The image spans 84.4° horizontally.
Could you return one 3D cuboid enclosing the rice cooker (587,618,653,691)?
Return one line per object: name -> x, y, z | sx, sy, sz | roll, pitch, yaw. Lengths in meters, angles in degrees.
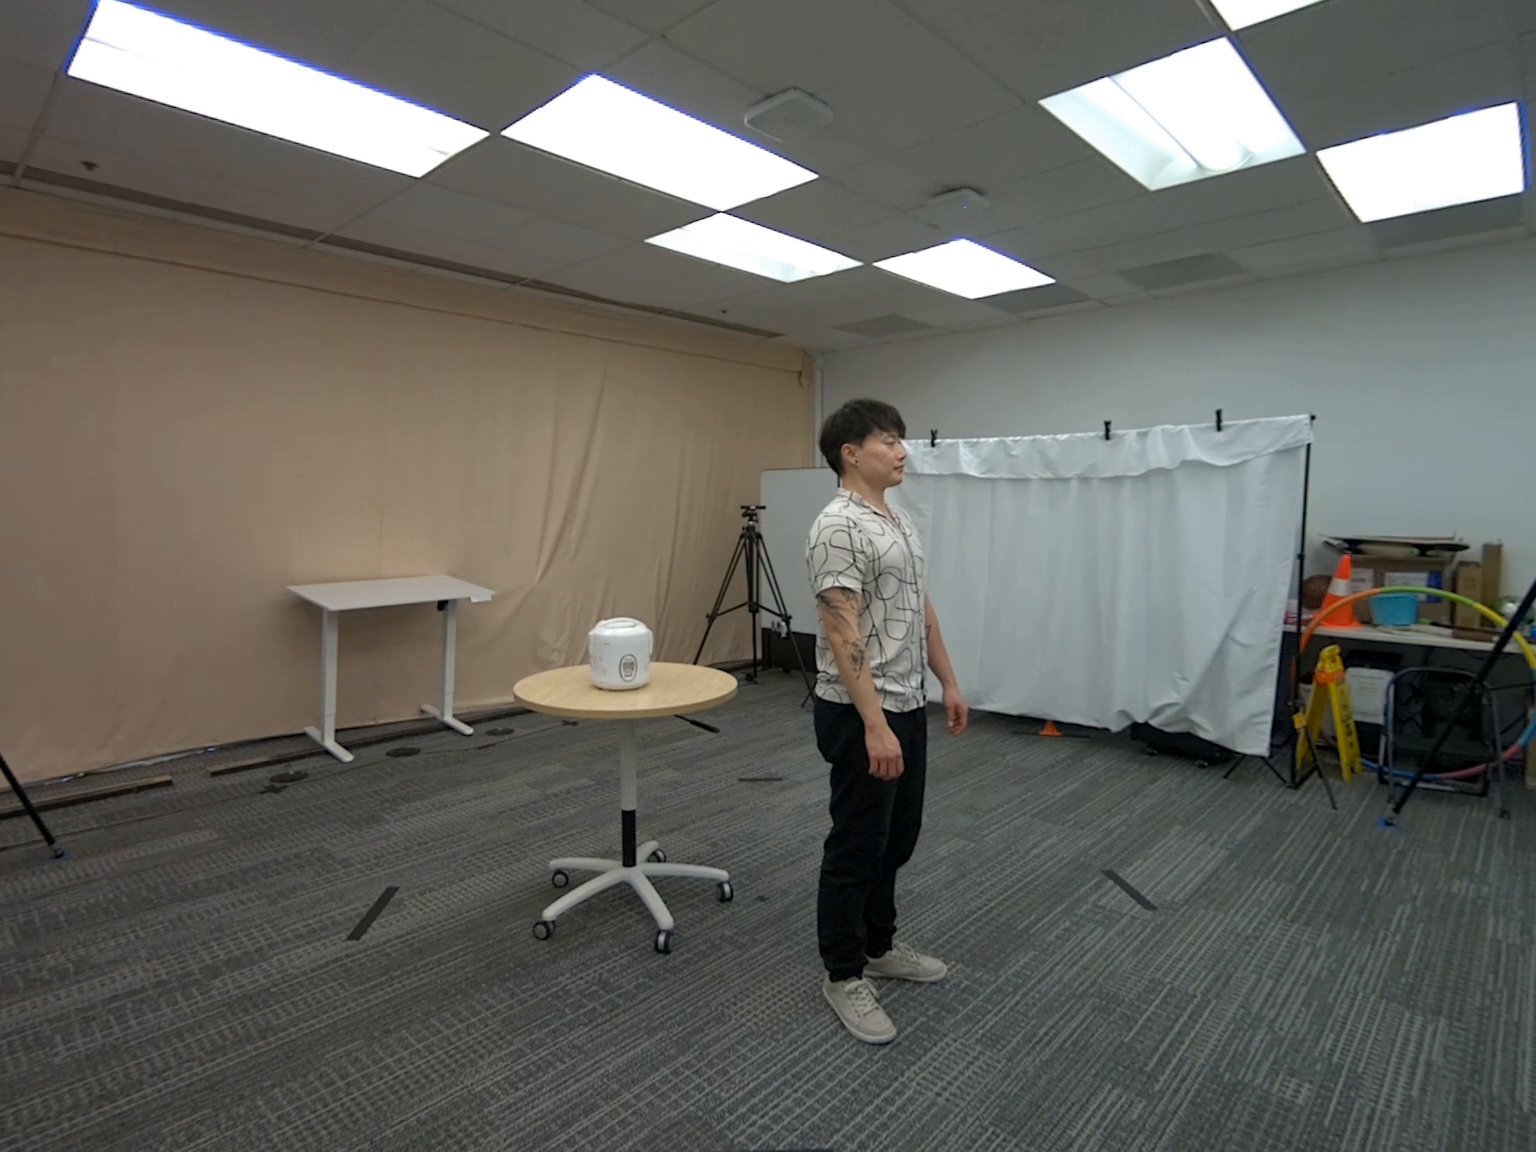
rice cooker -> -0.499, 0.258, 2.865 | 0.216, 0.232, 0.222 | -3, 4, -22
